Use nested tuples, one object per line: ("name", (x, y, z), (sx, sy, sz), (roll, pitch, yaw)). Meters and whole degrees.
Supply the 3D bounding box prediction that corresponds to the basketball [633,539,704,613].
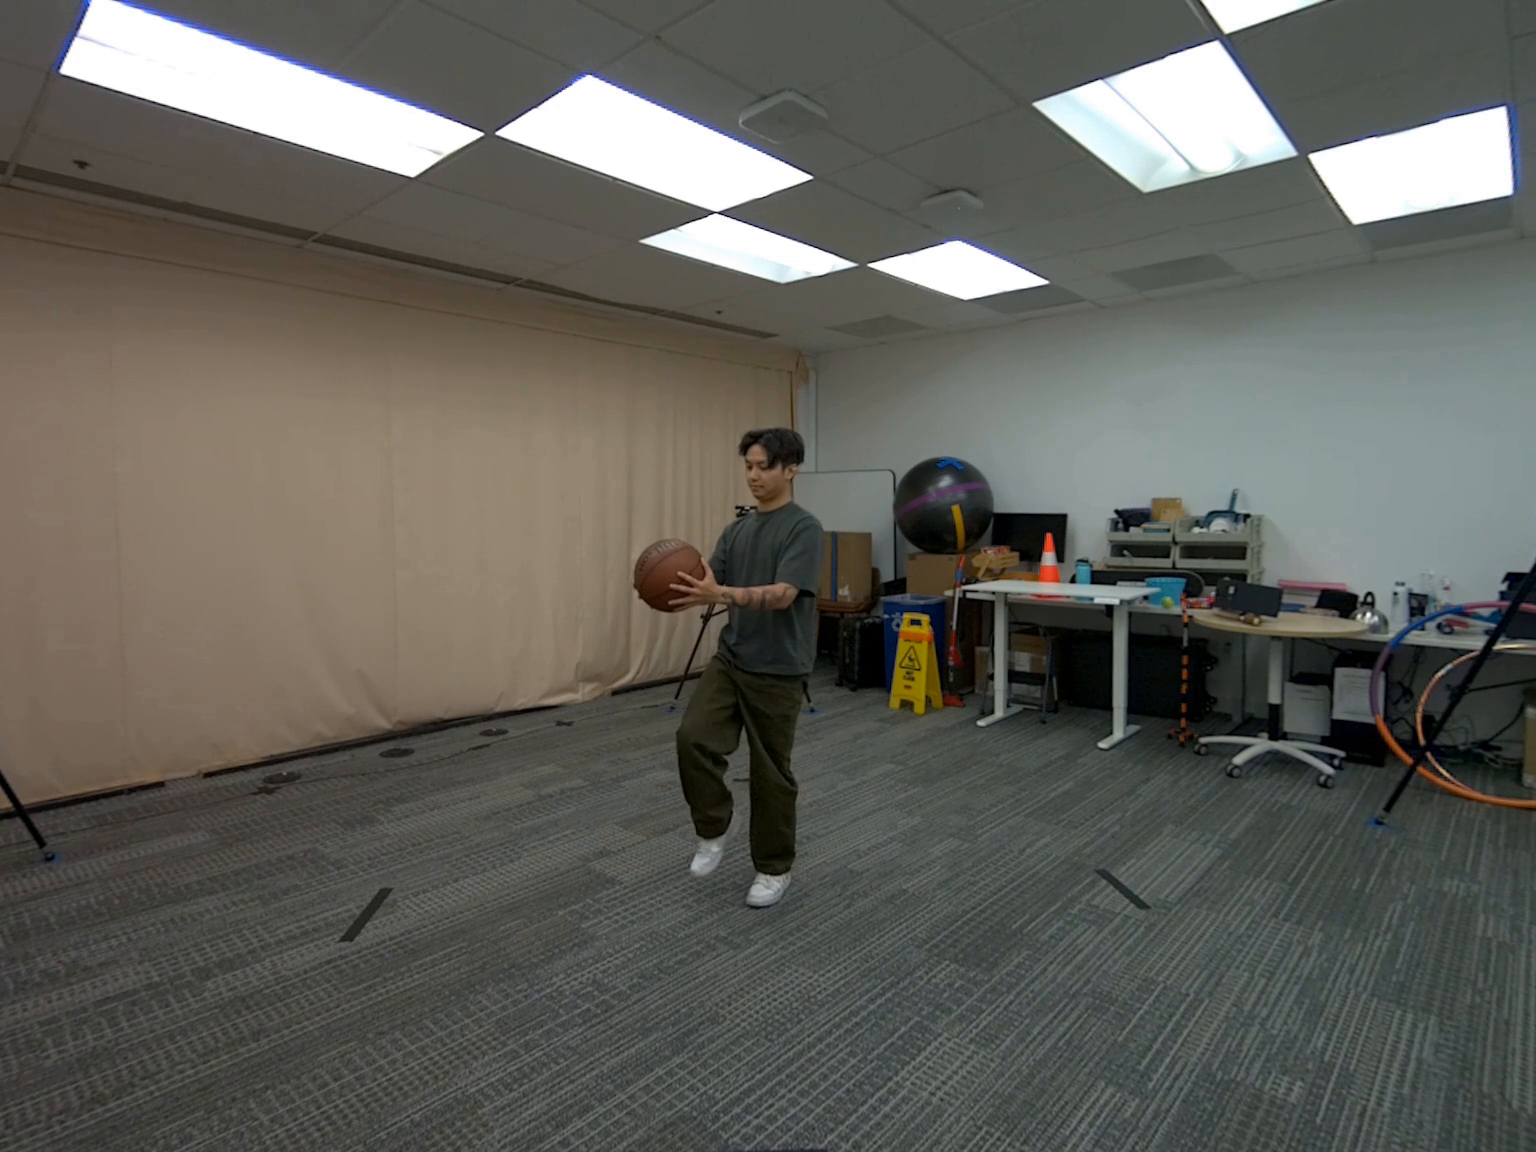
("basketball", (-0.313, -0.002, 2.733), (0.236, 0.235, 0.237), (0, 4, -2))
